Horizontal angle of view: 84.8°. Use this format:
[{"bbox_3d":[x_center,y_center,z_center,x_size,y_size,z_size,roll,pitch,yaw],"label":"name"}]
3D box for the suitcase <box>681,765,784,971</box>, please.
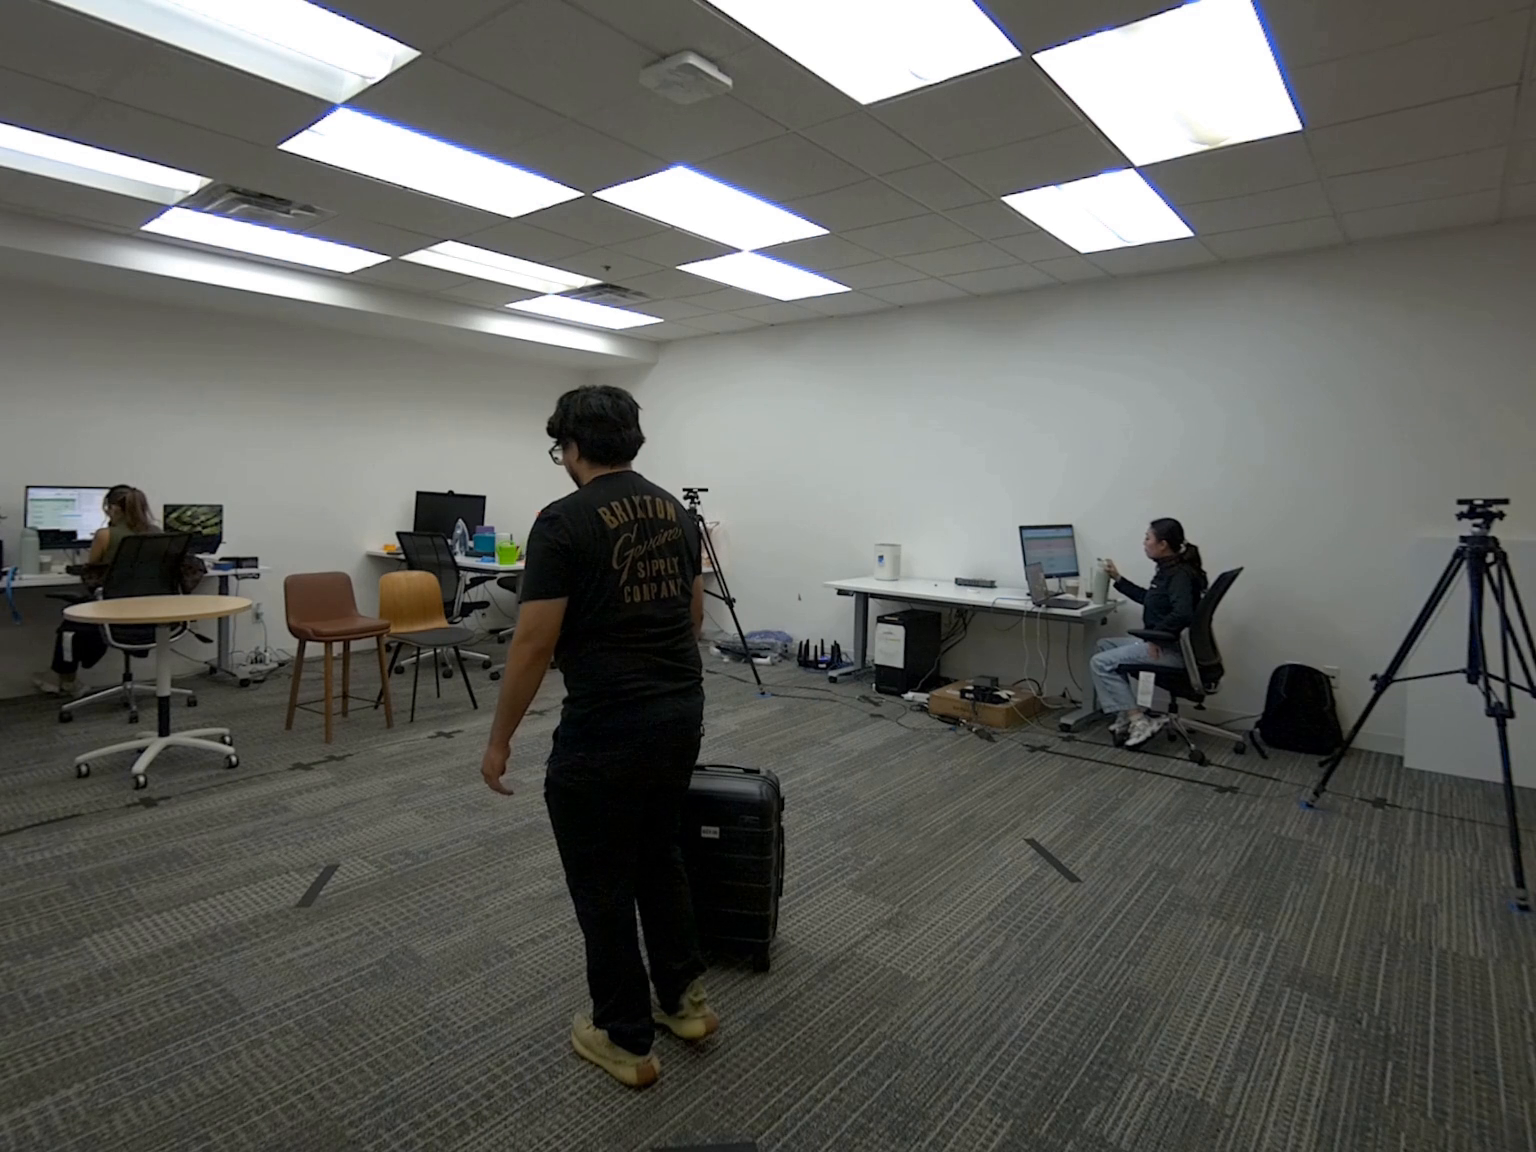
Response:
[{"bbox_3d":[-0.147,0.849,2.553,0.379,0.547,0.247,2,5,8],"label":"suitcase"}]
